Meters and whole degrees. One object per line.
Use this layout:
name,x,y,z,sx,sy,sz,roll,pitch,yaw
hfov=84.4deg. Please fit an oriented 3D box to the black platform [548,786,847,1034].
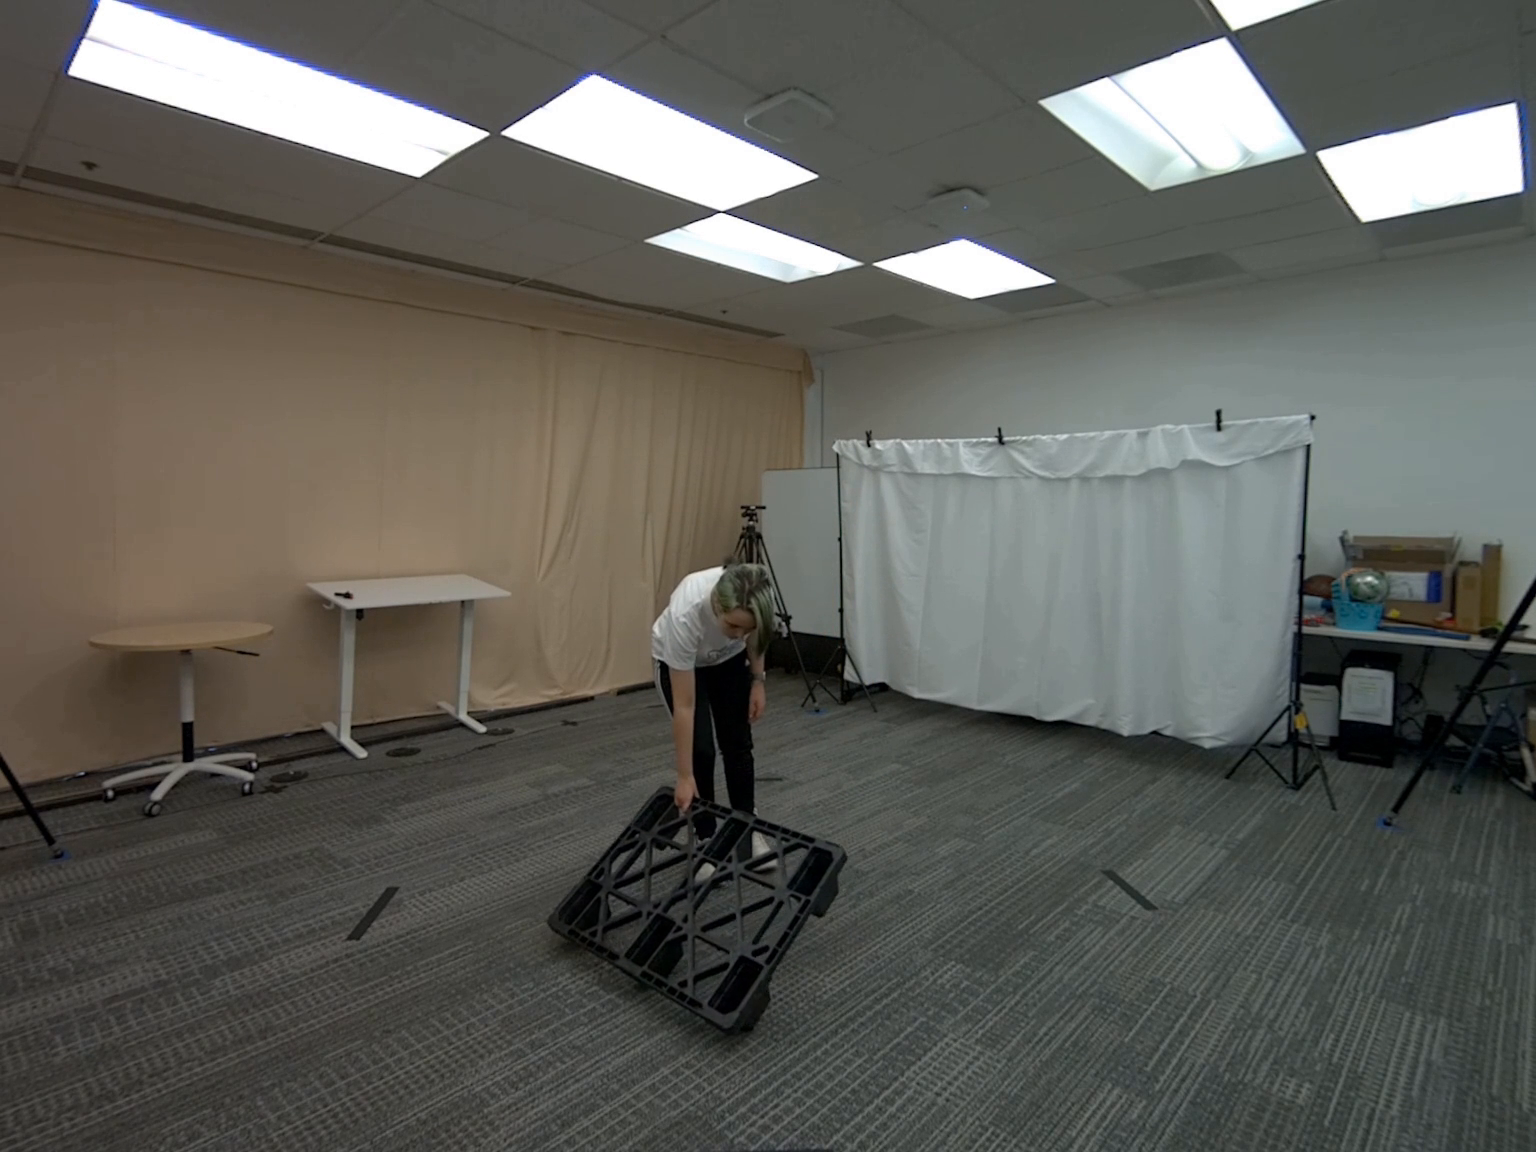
black platform,-0.212,1.001,2.582,0.832,0.140,0.600,4,39,42
